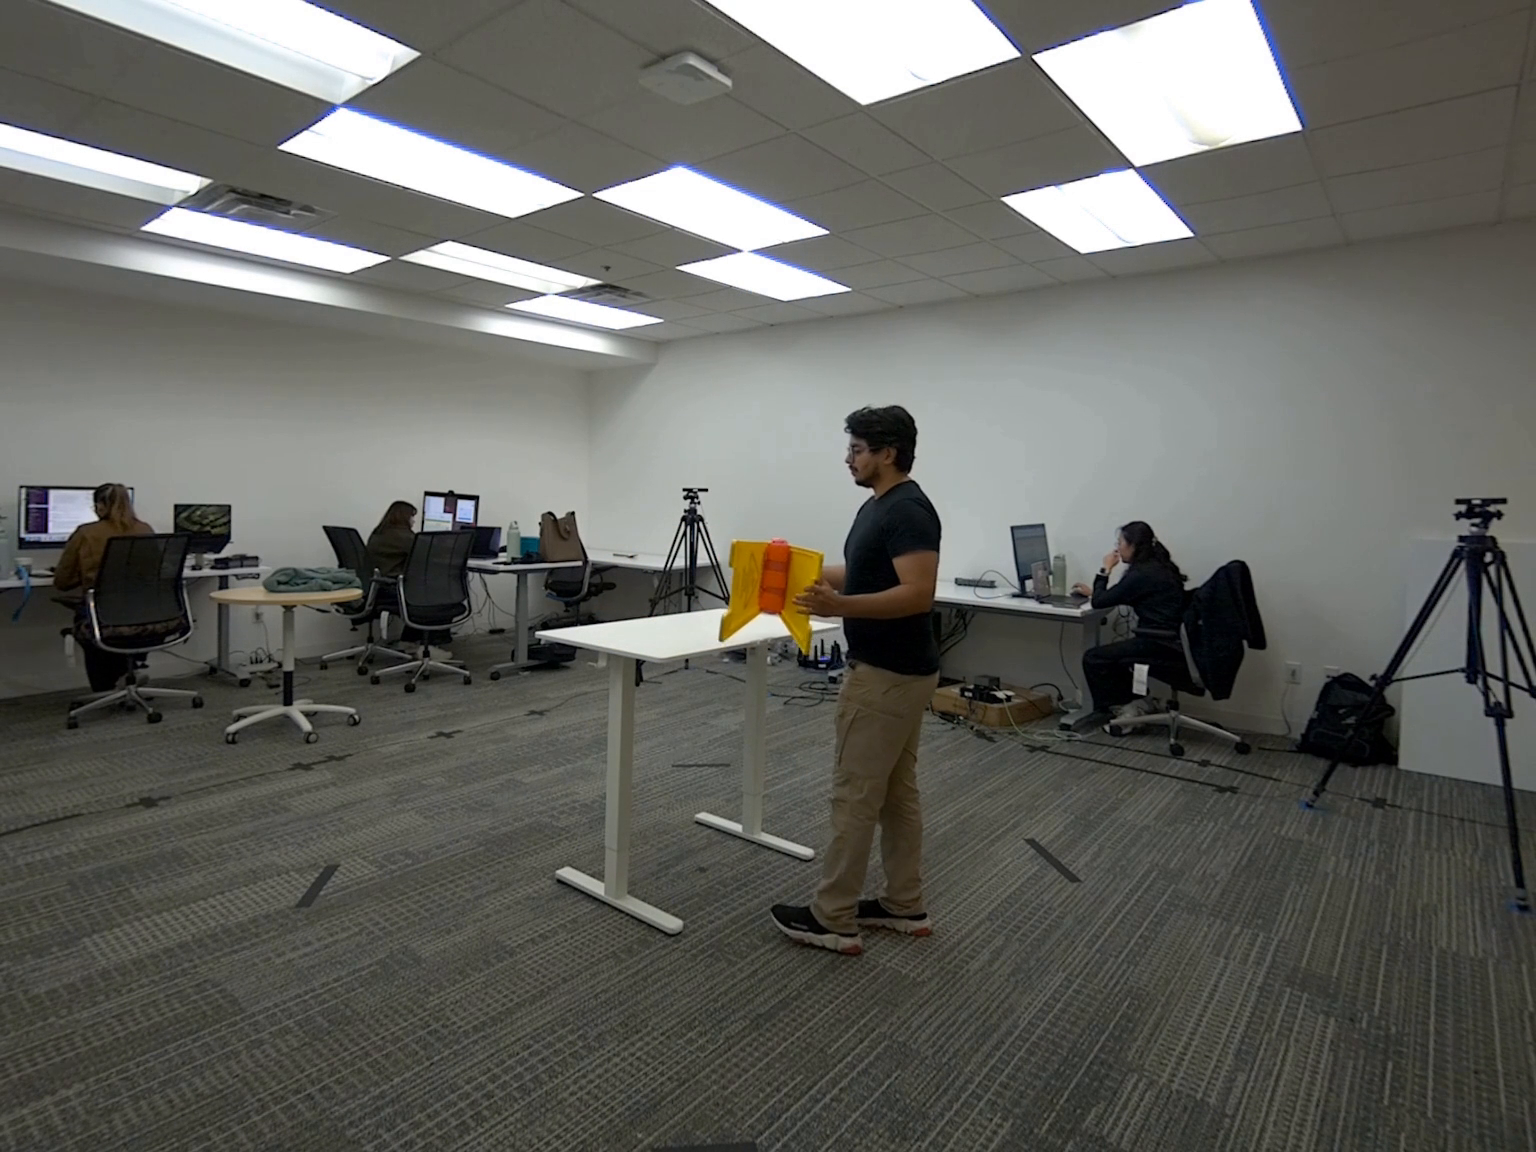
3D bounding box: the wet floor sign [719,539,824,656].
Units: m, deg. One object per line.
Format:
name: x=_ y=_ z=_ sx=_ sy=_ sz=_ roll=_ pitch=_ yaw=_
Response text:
wet floor sign: x=0.007 y=0.026 z=2.593 sx=0.290 sy=0.281 sz=0.647 roll=7 pitch=6 yaw=0
